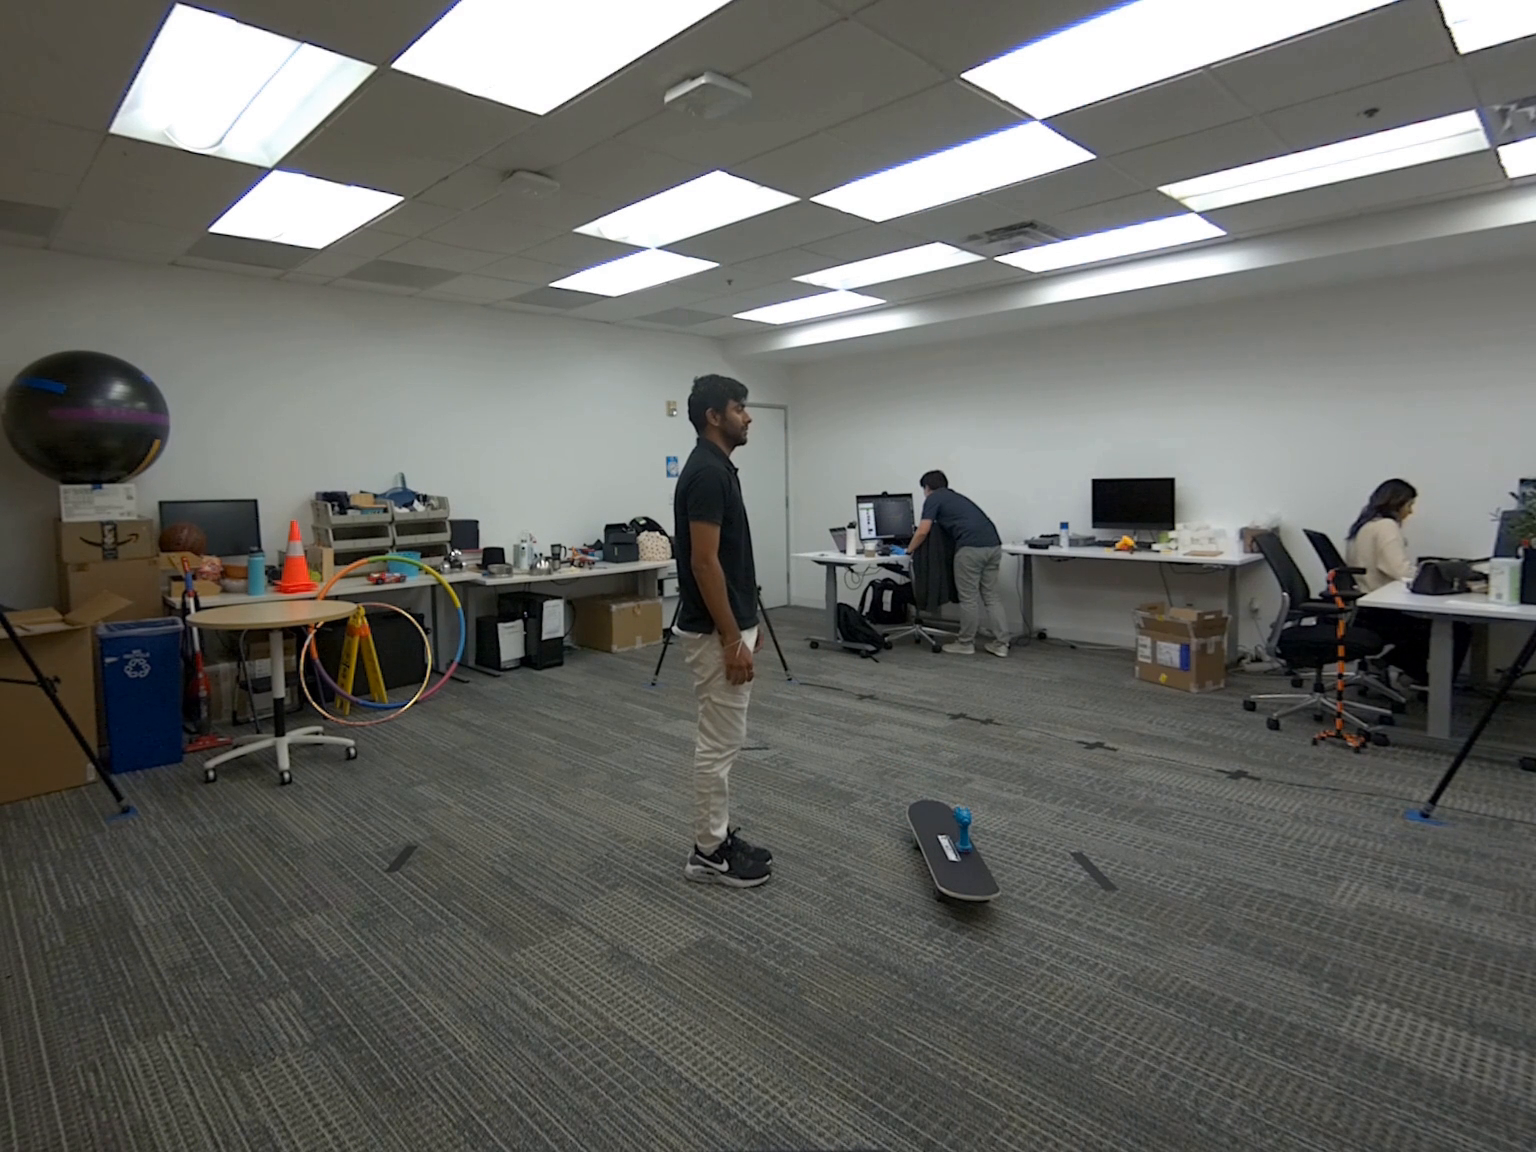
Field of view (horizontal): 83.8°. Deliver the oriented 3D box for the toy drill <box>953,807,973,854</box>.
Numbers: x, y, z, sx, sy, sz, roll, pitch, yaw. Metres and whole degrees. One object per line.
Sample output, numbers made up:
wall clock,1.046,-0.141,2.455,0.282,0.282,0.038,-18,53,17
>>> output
toy drill,0.680,0.871,3.023,0.061,0.145,0.170,-3,4,3
